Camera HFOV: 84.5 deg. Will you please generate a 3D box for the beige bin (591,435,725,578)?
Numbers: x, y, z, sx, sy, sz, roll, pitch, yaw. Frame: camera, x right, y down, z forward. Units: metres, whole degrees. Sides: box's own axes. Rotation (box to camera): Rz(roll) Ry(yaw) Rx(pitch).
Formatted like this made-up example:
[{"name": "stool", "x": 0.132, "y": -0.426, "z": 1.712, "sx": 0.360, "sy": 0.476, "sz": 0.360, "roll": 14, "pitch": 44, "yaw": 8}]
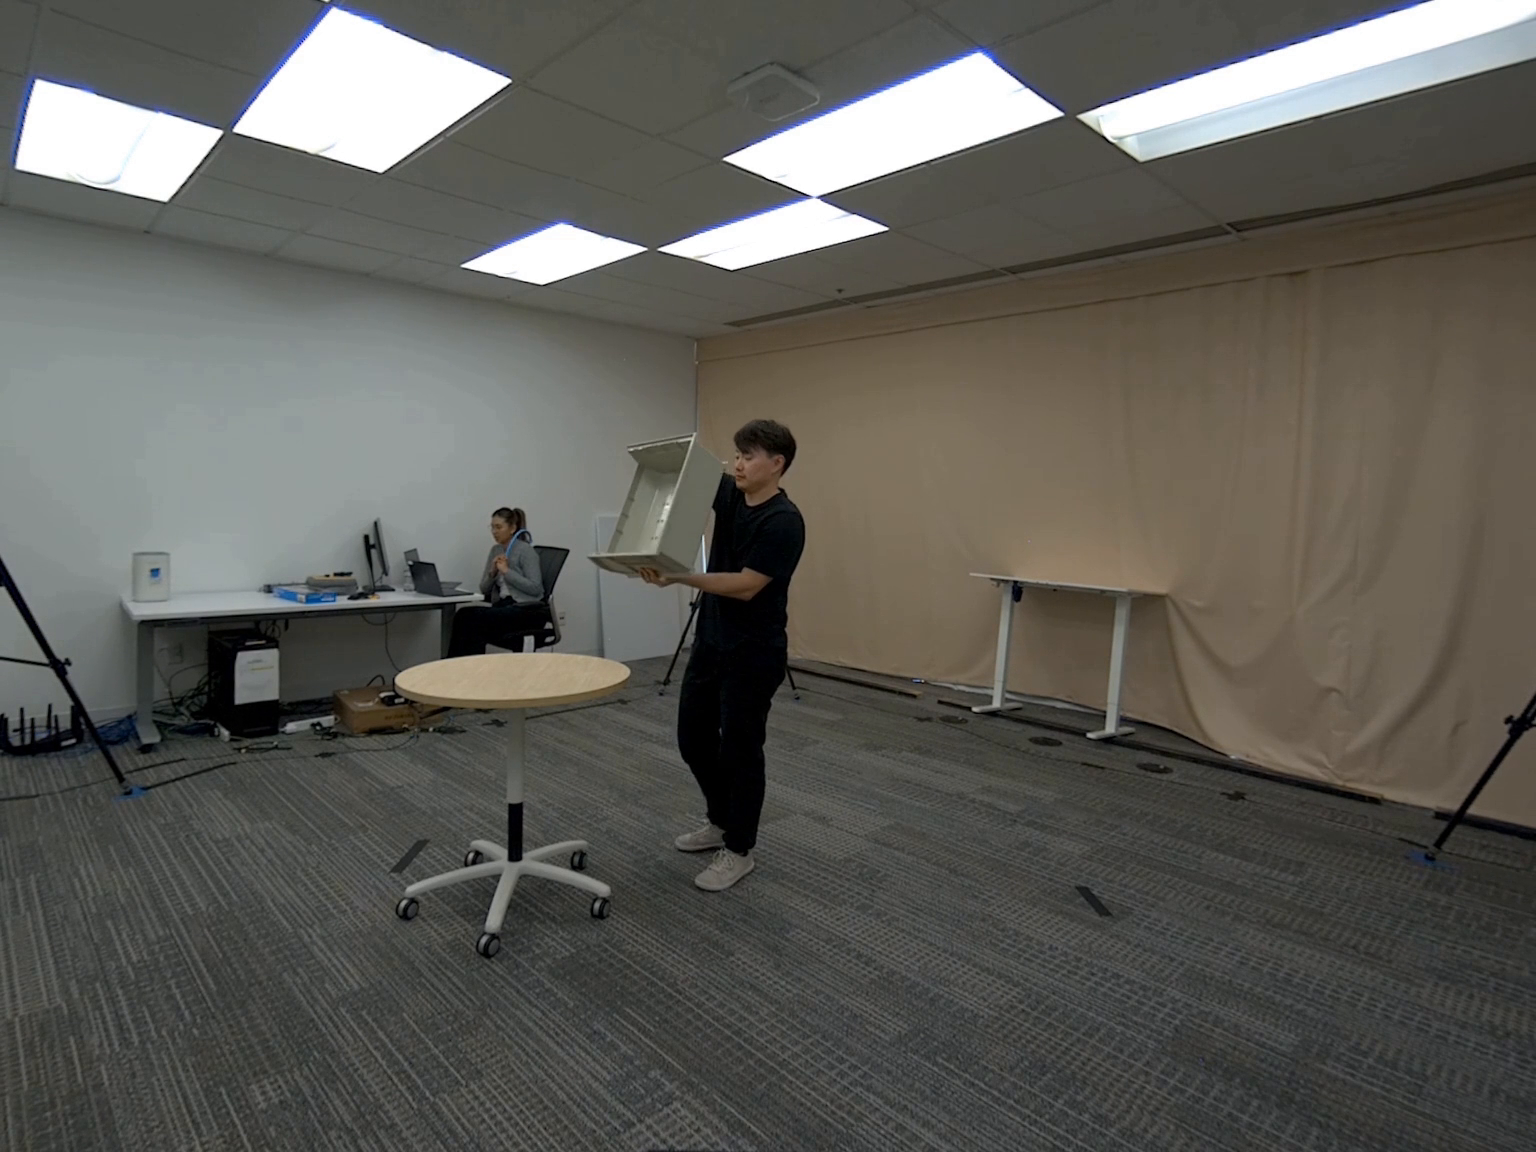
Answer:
[{"name": "beige bin", "x": -0.370, "y": -0.217, "z": 2.752, "sx": 0.386, "sy": 0.426, "sz": 0.183, "roll": -2, "pitch": -27, "yaw": 41}]
